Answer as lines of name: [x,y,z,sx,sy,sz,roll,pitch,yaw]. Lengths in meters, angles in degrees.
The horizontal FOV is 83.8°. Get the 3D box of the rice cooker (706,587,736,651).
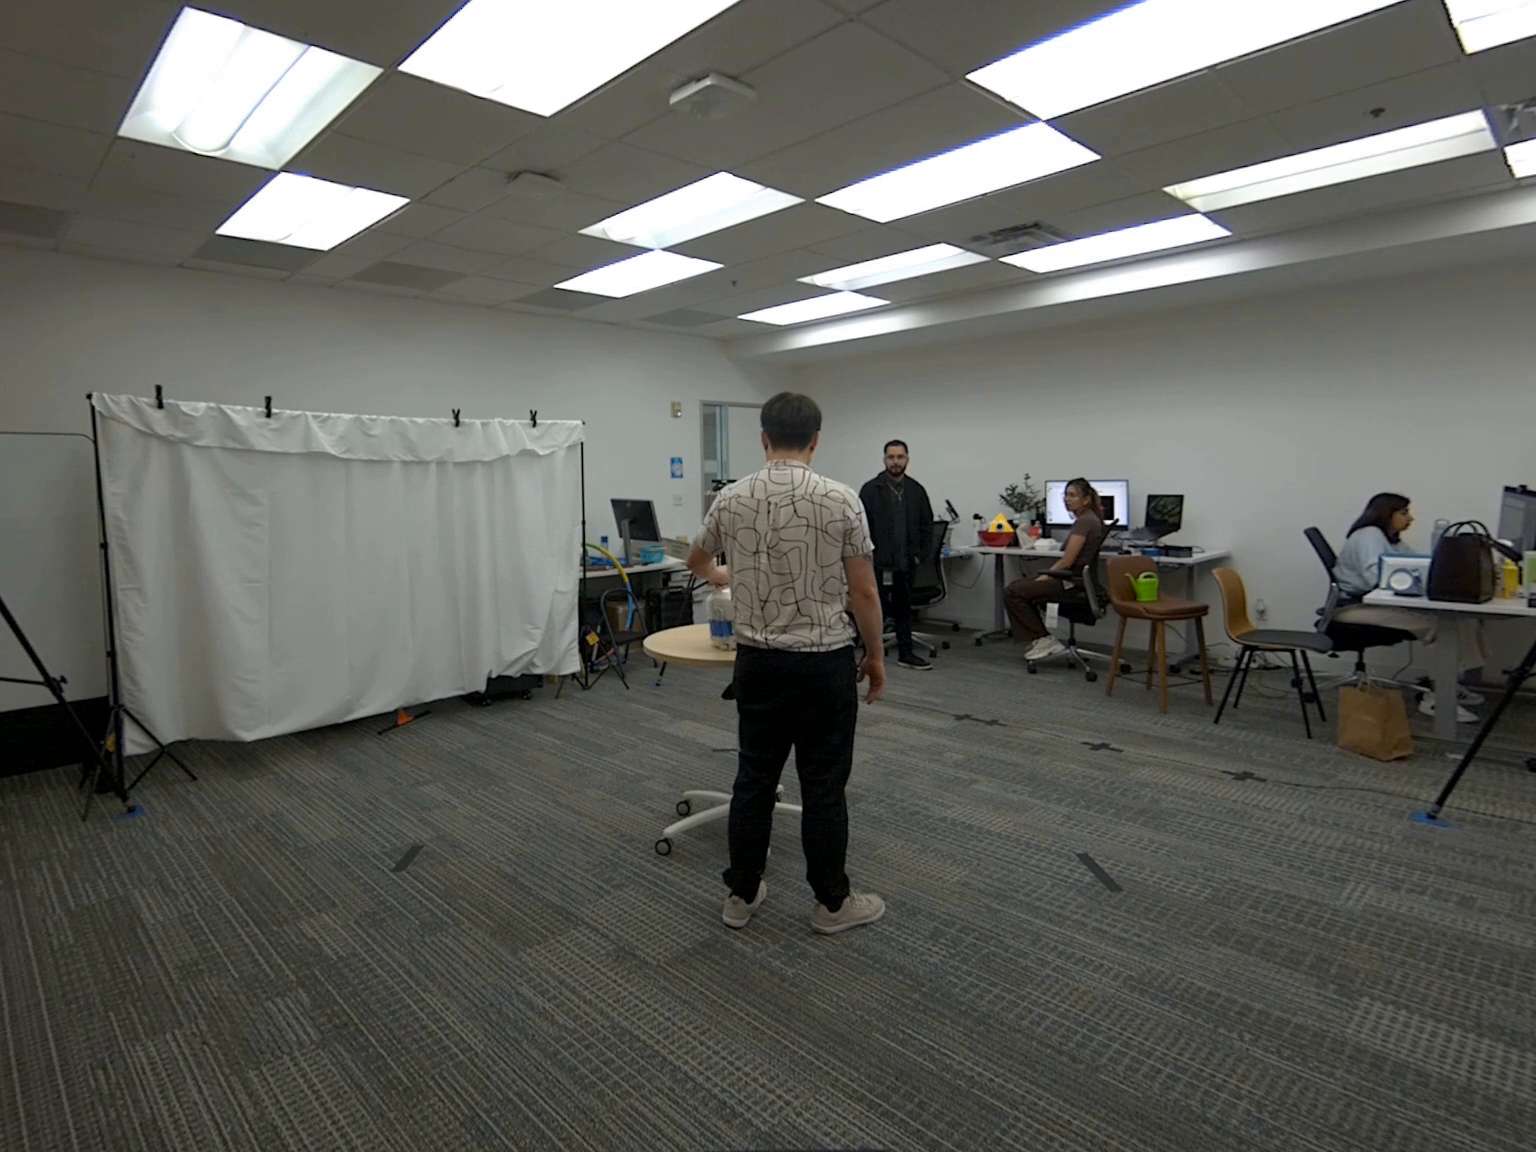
rice cooker: [-0.119,0.144,3.184,0.217,0.232,0.222,-2,6,-16]
